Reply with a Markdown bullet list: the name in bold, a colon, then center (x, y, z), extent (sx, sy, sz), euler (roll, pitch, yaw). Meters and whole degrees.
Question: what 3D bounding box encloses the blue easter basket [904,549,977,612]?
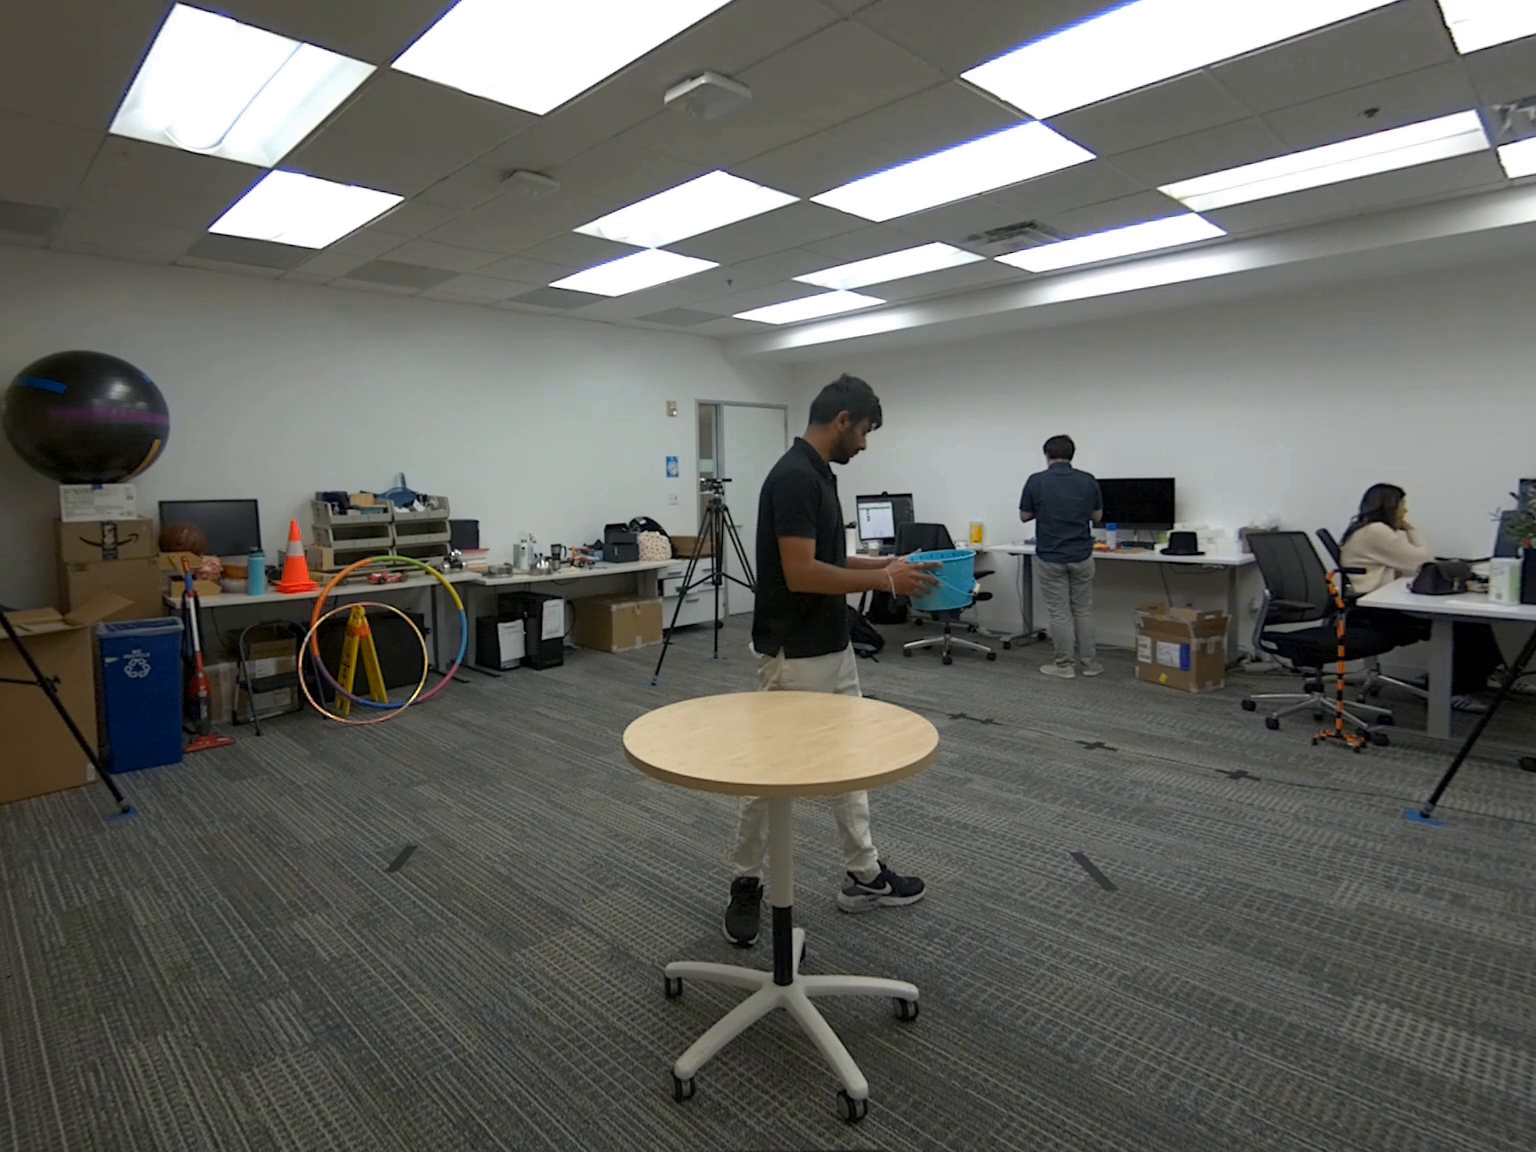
- **blue easter basket**: center (0.526, 0.013, 2.624), extent (0.243, 0.155, 0.245), euler (-8, 5, -1)
